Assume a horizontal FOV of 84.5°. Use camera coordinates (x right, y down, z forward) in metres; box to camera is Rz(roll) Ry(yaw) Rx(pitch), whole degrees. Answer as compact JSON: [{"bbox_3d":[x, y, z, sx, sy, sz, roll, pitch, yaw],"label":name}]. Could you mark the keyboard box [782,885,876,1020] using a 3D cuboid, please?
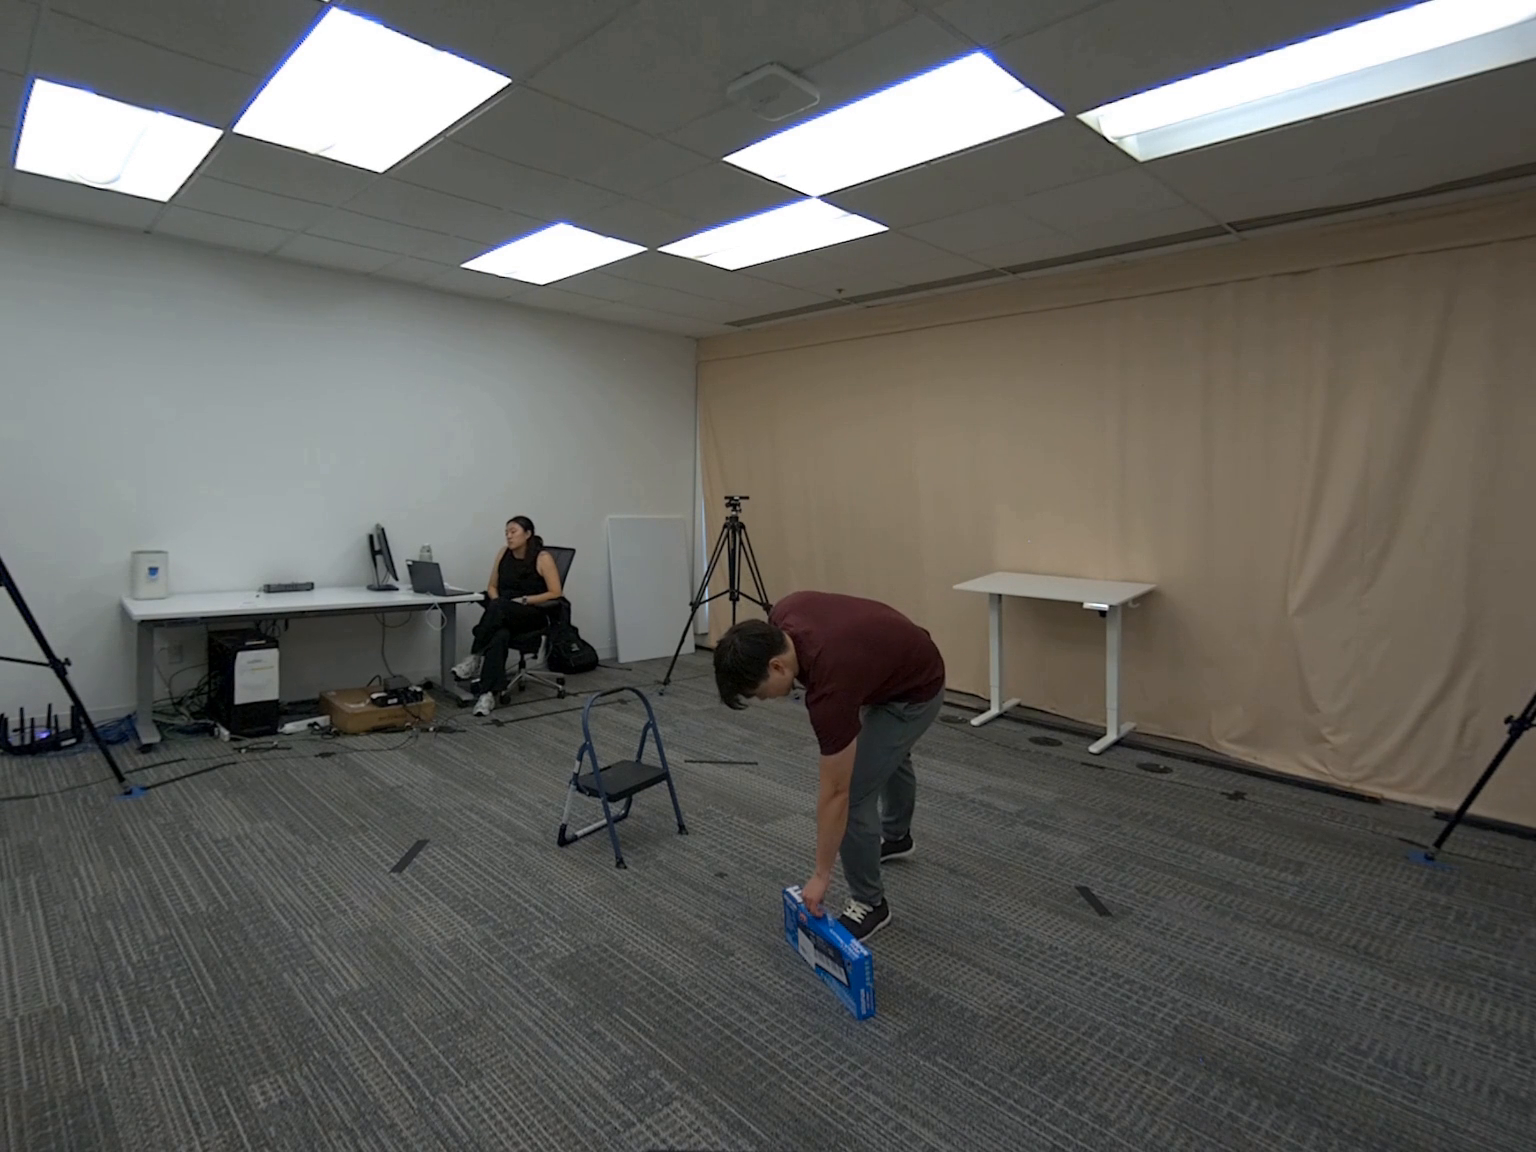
[{"bbox_3d":[0.163,1.086,2.458,0.058,0.175,0.446,-6,8,-24],"label":"keyboard box"}]
